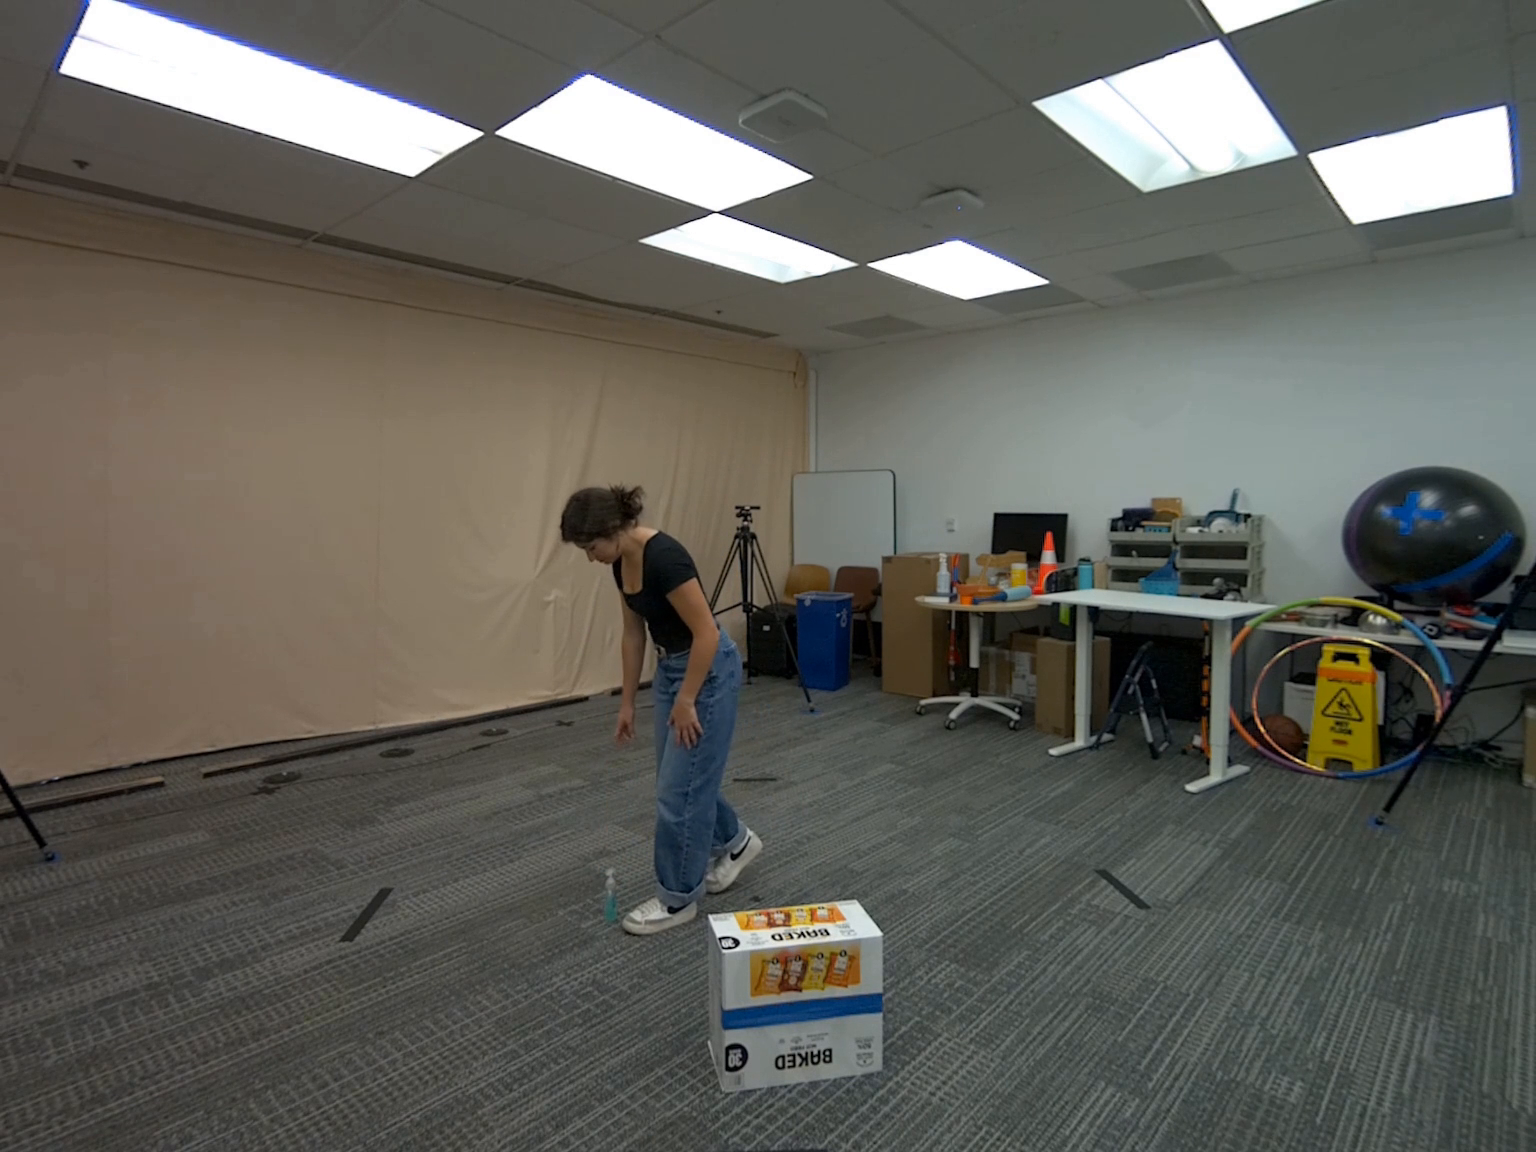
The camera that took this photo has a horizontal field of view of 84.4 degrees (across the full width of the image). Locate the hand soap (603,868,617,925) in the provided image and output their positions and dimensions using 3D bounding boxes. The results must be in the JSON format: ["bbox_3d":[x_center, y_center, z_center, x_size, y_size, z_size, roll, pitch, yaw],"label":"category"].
[{"bbox_3d":[-0.531,1.080,2.840,0.044,0.167,0.084,1,6,6],"label":"hand soap"}]
